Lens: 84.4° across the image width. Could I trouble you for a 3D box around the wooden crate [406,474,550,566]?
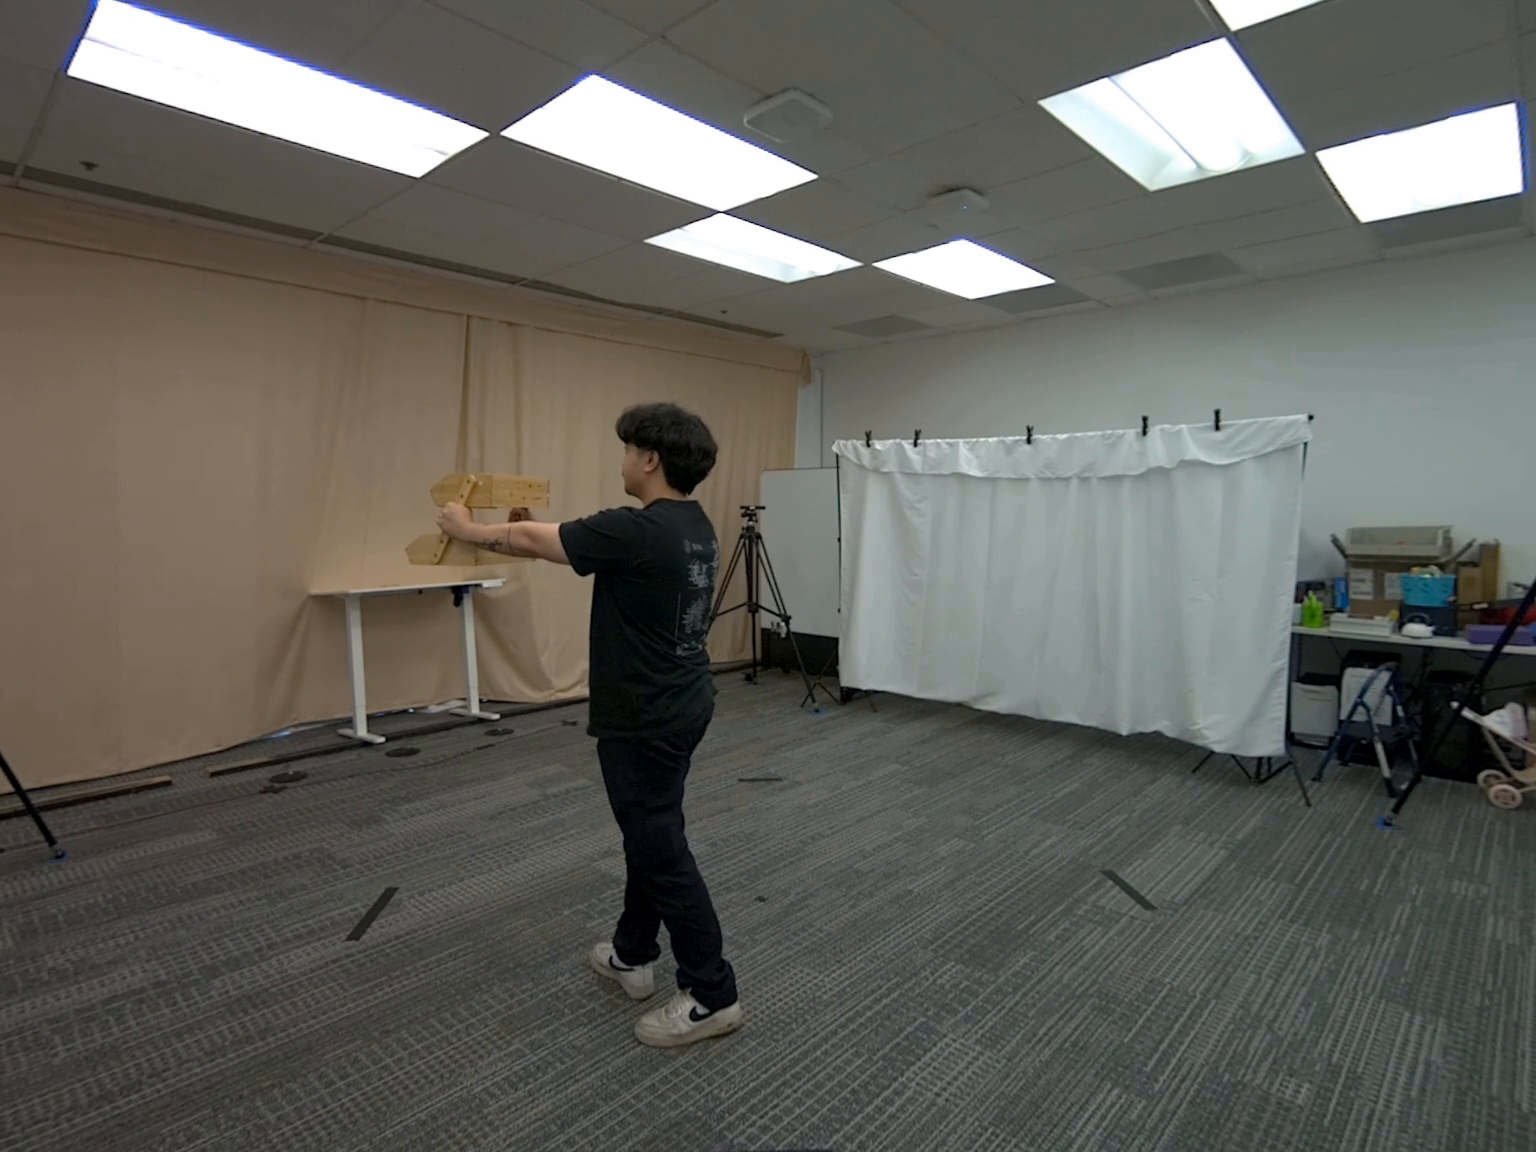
[{"bbox_3d":[-0.872,-0.176,2.521,0.307,0.273,0.319,2,3,15],"label":"wooden crate"}]
